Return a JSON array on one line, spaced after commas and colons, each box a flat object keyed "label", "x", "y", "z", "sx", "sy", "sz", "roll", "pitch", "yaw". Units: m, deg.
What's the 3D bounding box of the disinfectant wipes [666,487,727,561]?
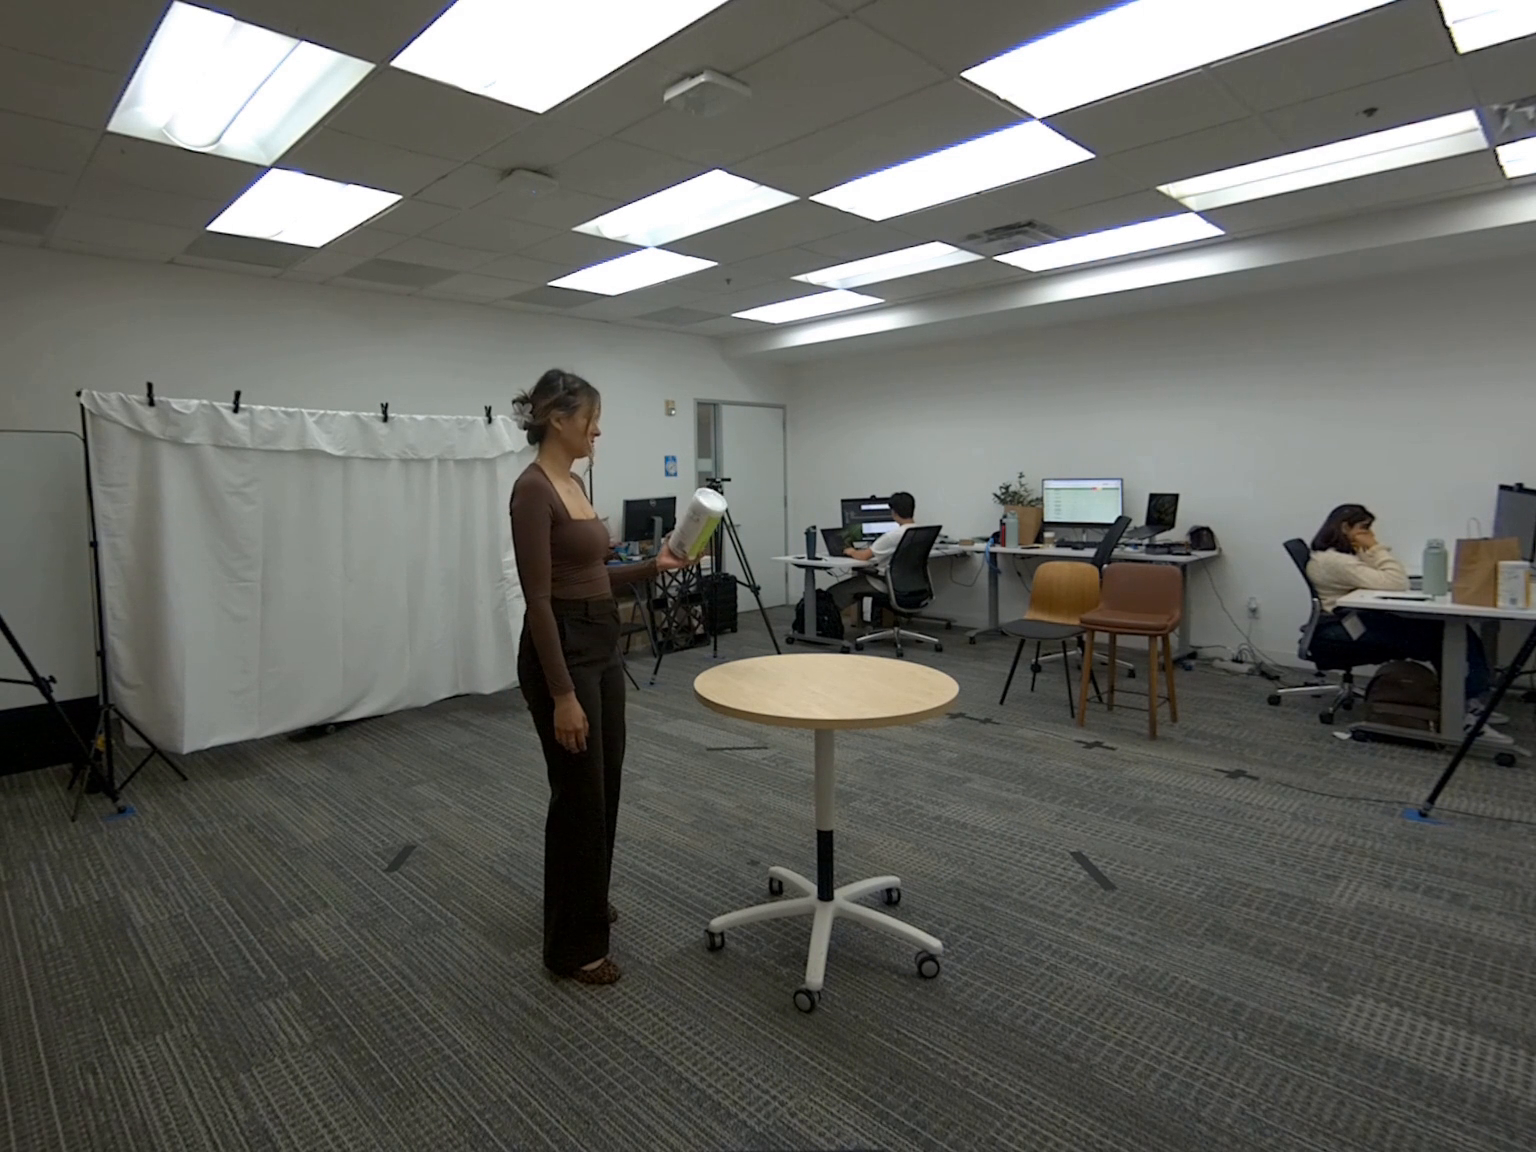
[{"label": "disinfectant wipes", "x": -0.219, "y": -0.157, "z": 2.648, "sx": 0.115, "sy": 0.216, "sz": 0.121, "roll": 22, "pitch": 33, "yaw": -17}]
